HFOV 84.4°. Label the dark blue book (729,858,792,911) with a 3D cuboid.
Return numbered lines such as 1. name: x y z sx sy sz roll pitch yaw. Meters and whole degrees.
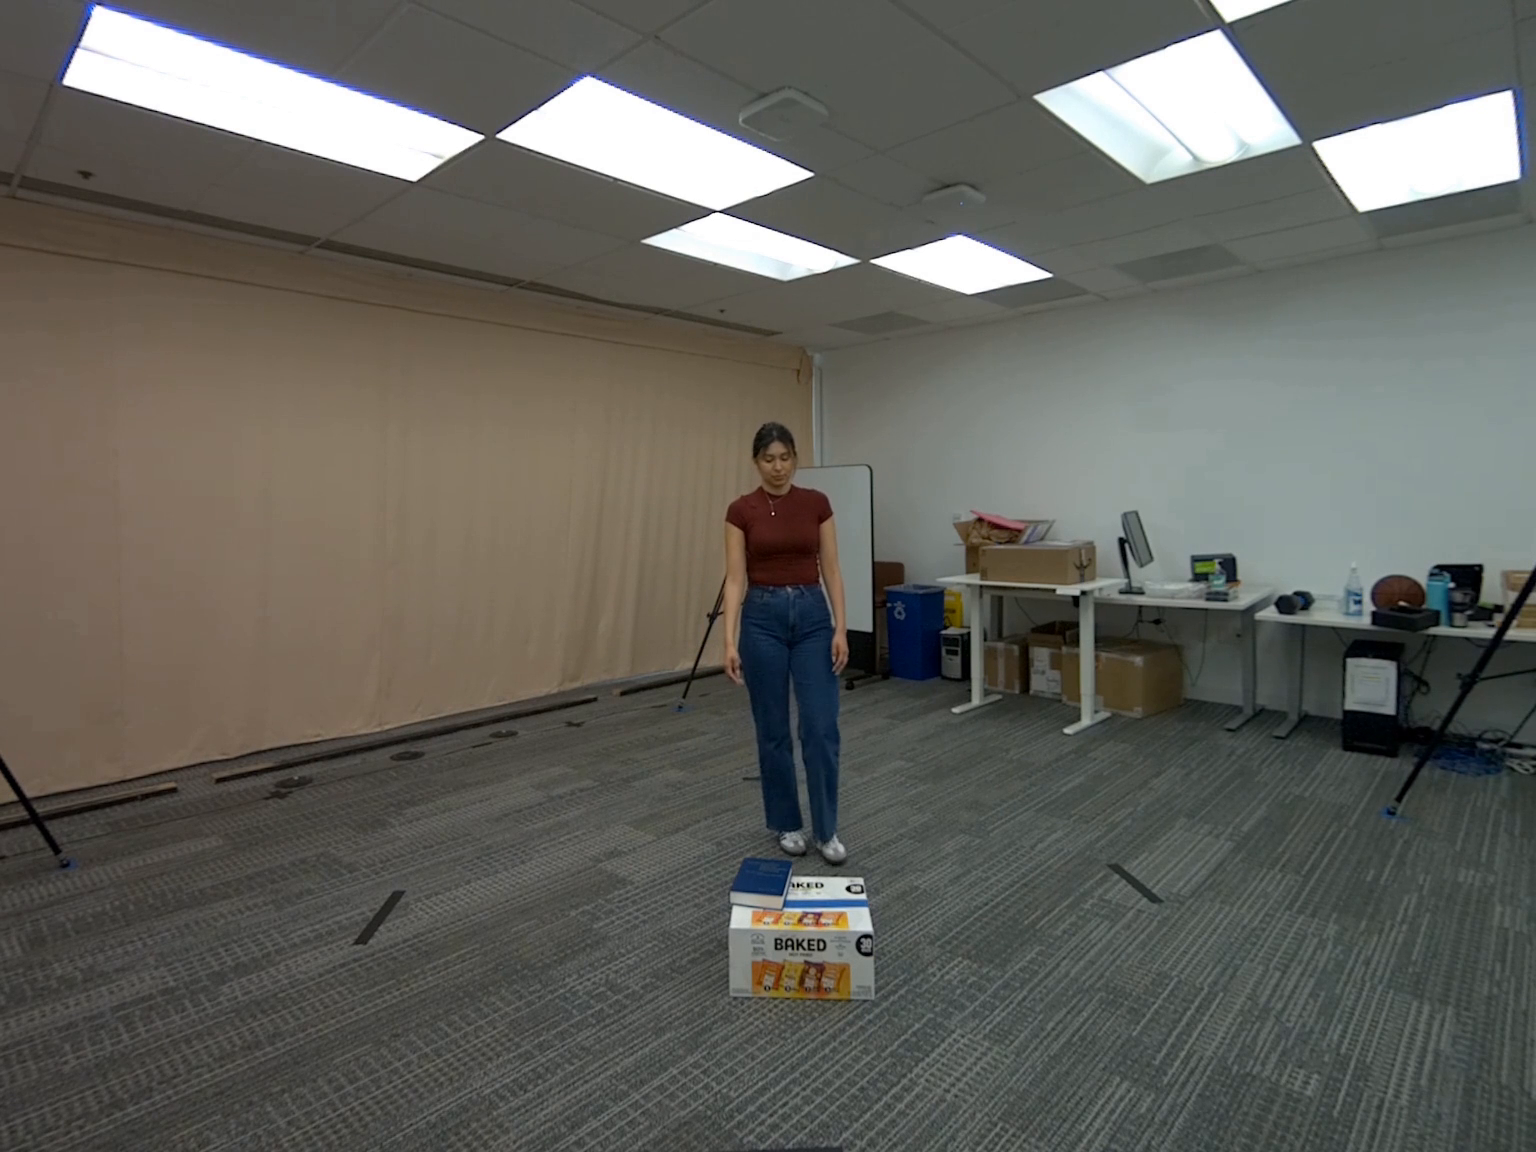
1. dark blue book: -0.018 0.938 2.612 0.165 0.045 0.243 1 5 10
